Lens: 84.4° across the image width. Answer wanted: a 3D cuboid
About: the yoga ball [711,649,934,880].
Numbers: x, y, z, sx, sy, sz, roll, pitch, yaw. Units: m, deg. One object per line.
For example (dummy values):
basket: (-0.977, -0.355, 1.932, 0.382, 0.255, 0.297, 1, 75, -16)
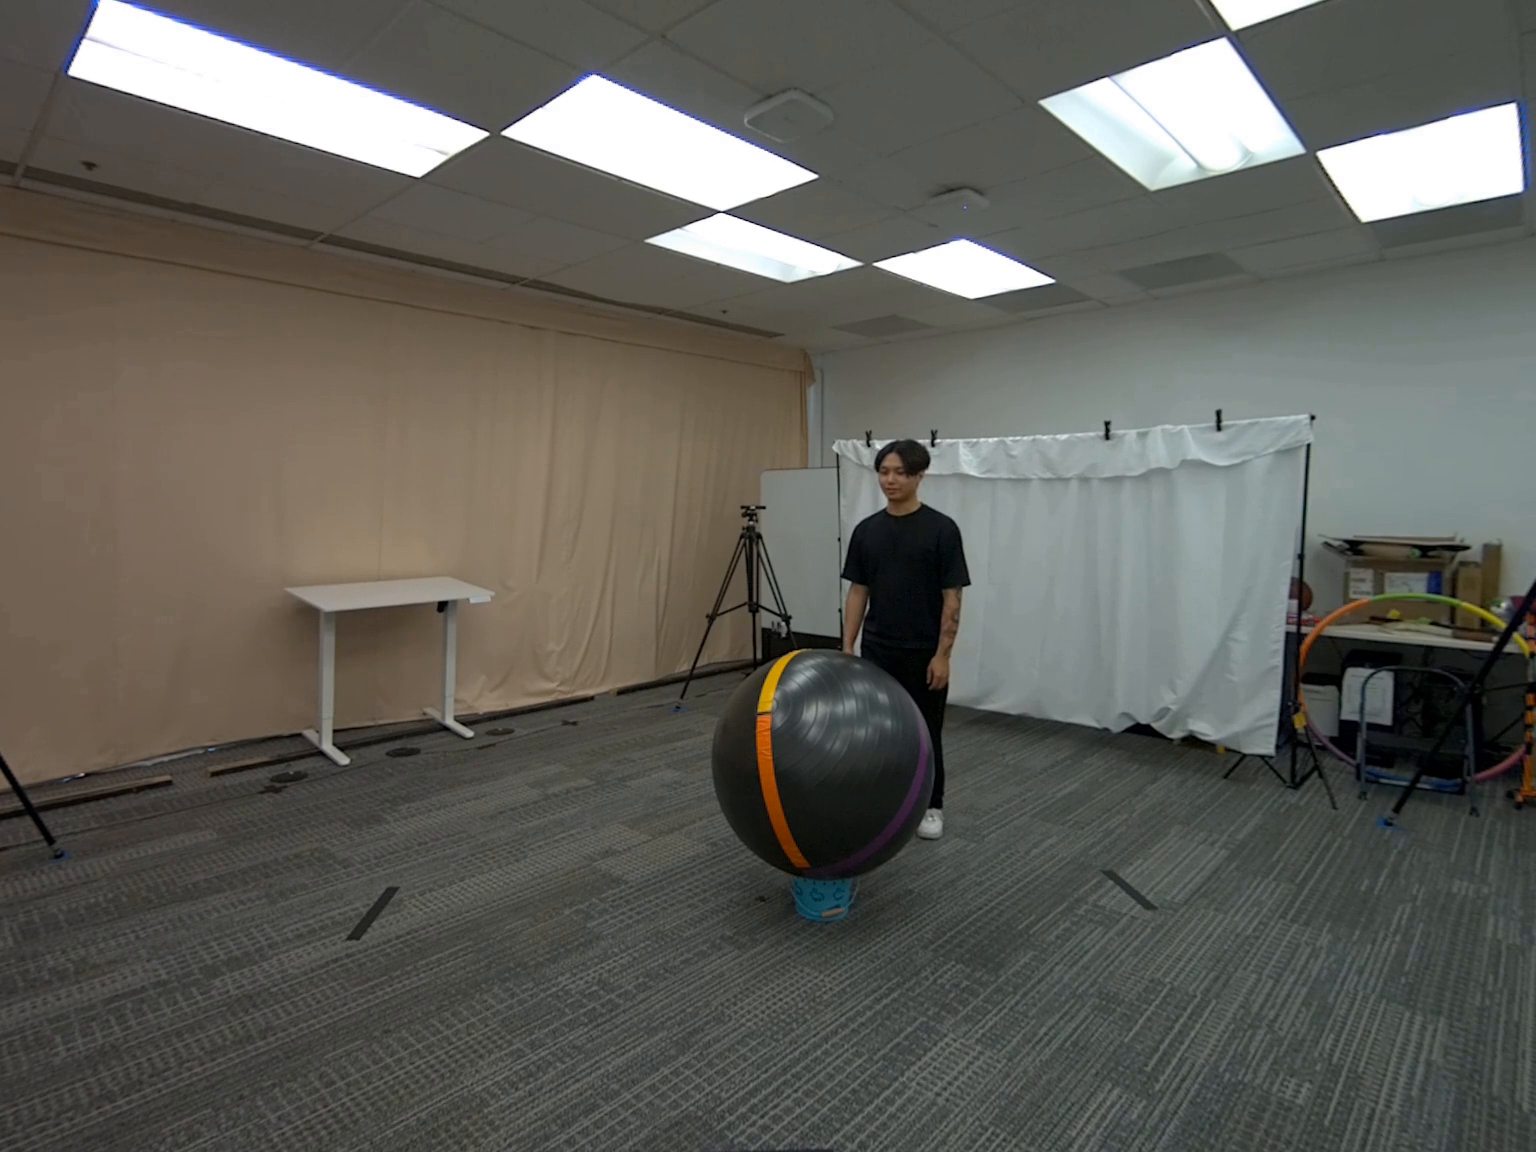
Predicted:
yoga ball: (0.186, 0.638, 2.890, 0.757, 0.756, 0.760, 0, 4, -2)
